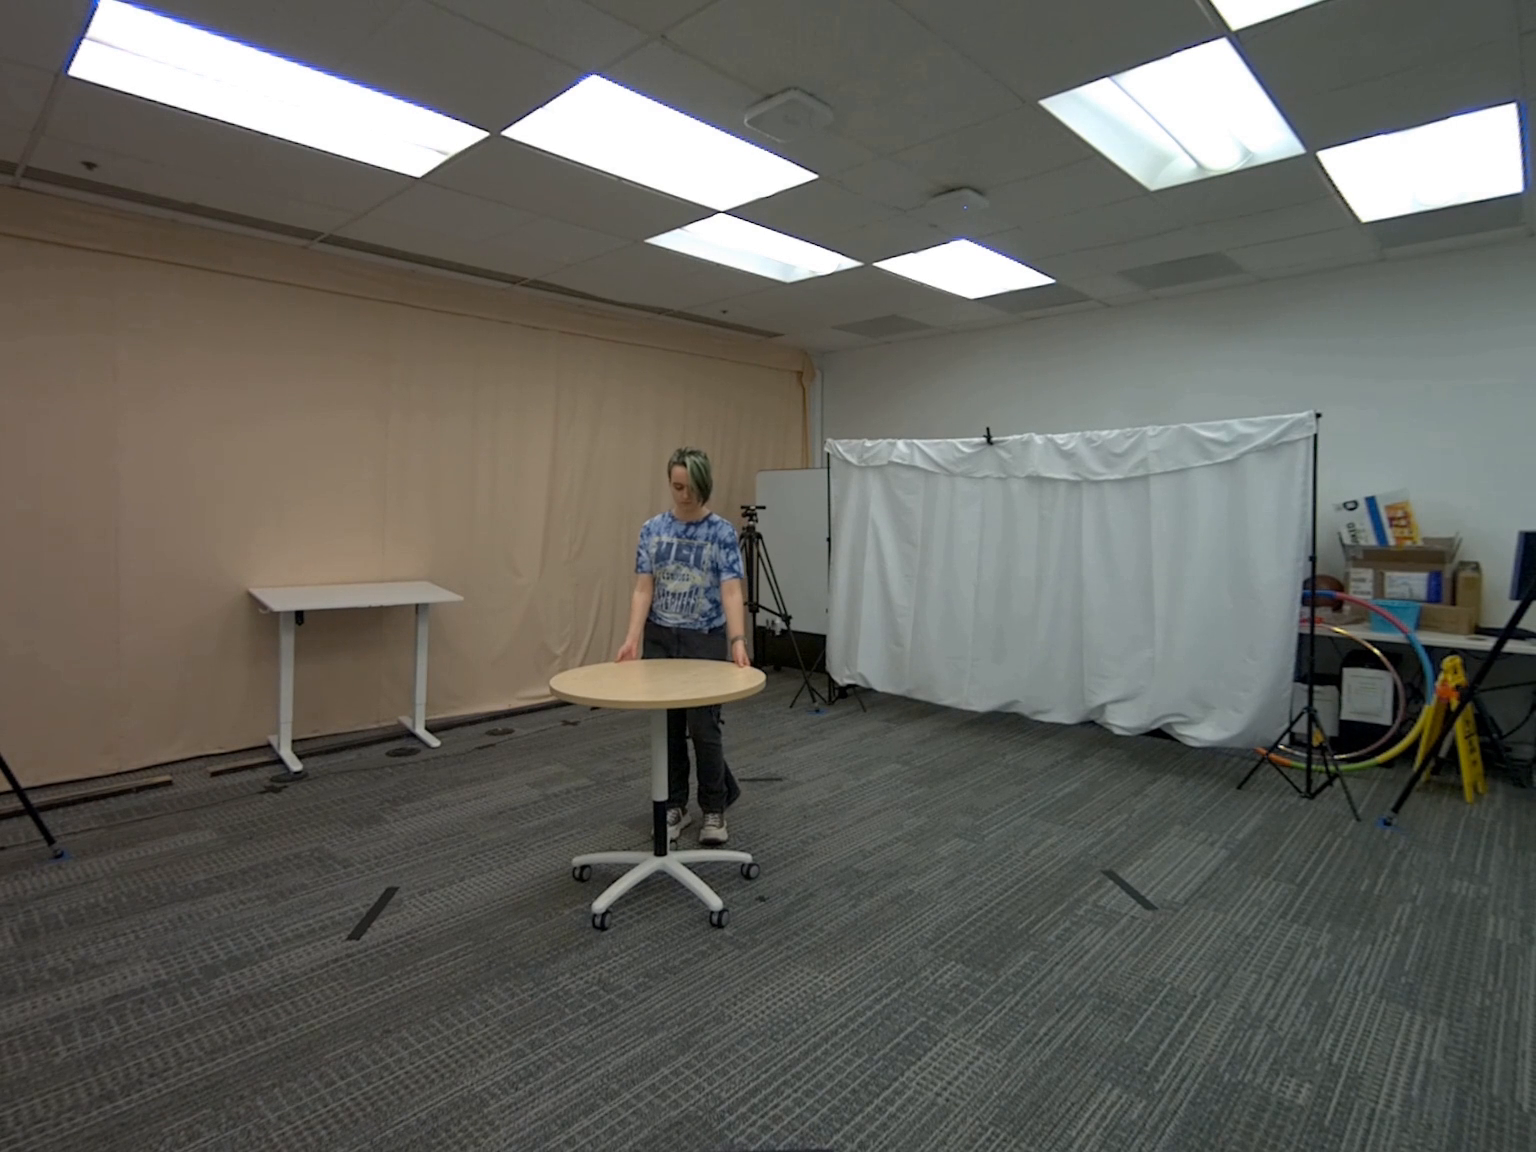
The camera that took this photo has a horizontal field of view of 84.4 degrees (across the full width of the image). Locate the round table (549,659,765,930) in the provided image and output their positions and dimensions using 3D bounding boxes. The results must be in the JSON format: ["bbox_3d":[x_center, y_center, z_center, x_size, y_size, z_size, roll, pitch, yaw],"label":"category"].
[{"bbox_3d":[-0.379,0.754,3.021,0.763,0.792,0.766,-1,3,-2],"label":"round table"}]
